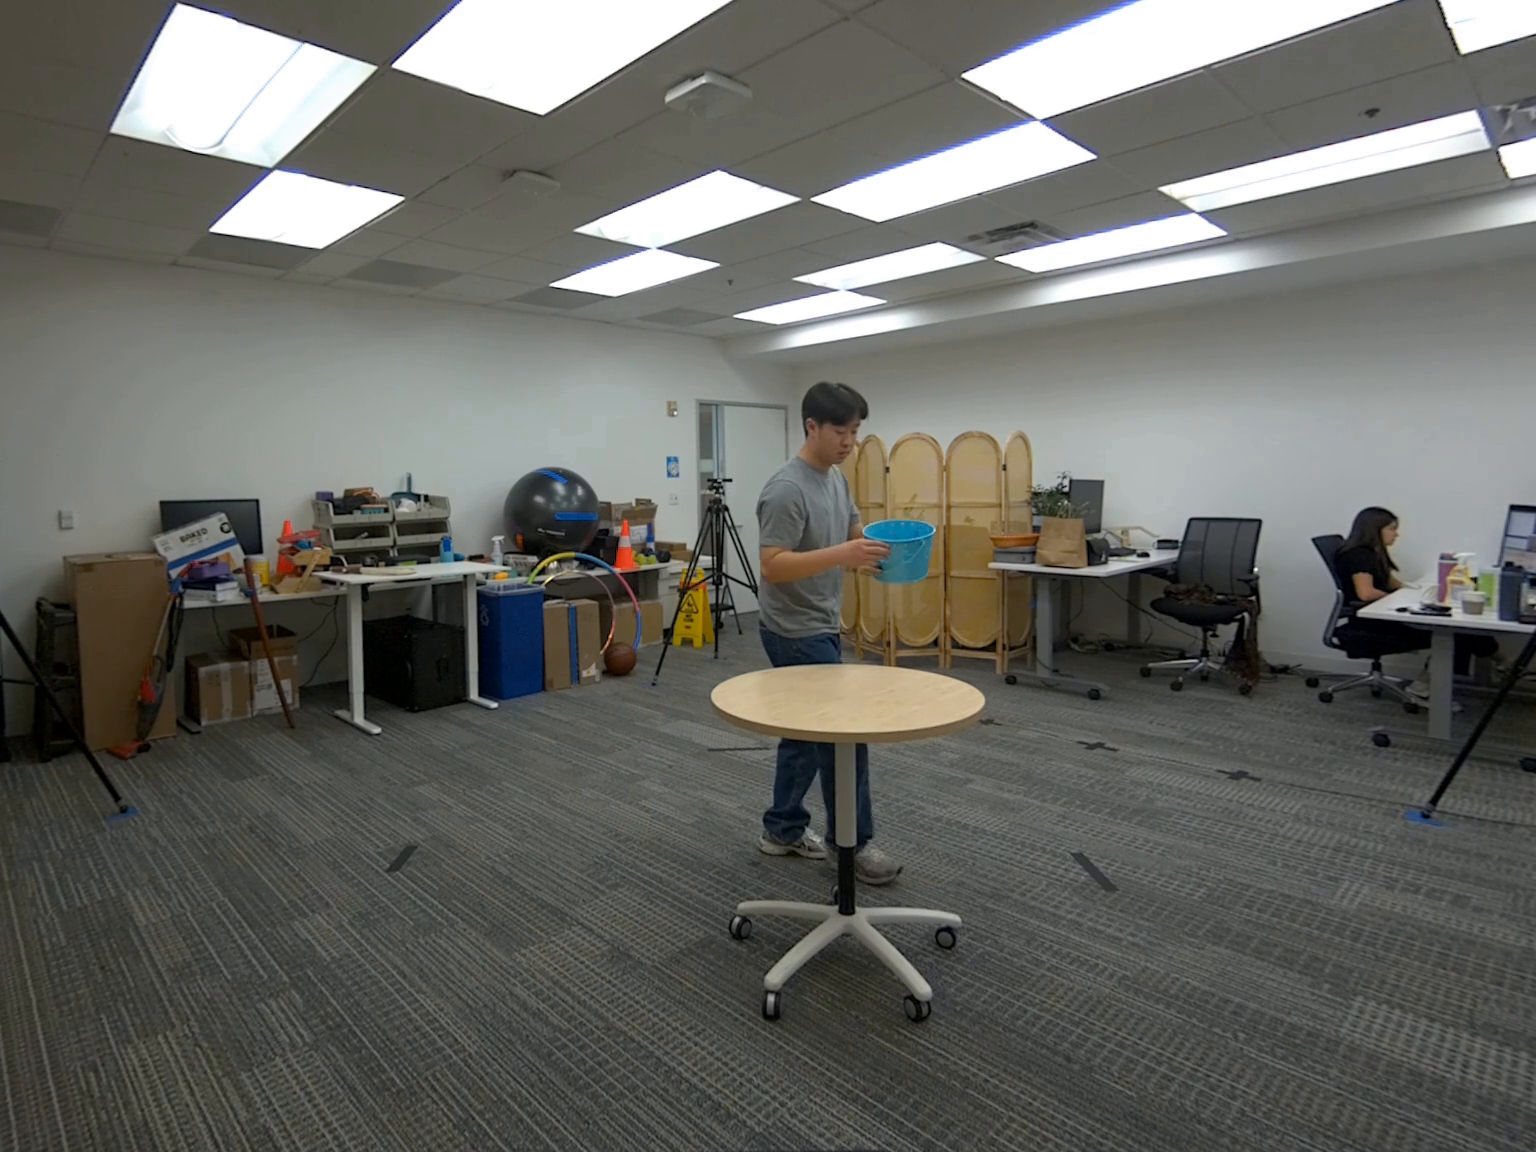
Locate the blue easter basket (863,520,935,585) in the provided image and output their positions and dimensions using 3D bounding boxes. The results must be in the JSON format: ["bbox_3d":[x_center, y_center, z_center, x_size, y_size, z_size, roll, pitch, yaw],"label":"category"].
[{"bbox_3d":[0.406,-0.075,2.804,0.243,0.153,0.247,-4,18,-1],"label":"blue easter basket"}]
